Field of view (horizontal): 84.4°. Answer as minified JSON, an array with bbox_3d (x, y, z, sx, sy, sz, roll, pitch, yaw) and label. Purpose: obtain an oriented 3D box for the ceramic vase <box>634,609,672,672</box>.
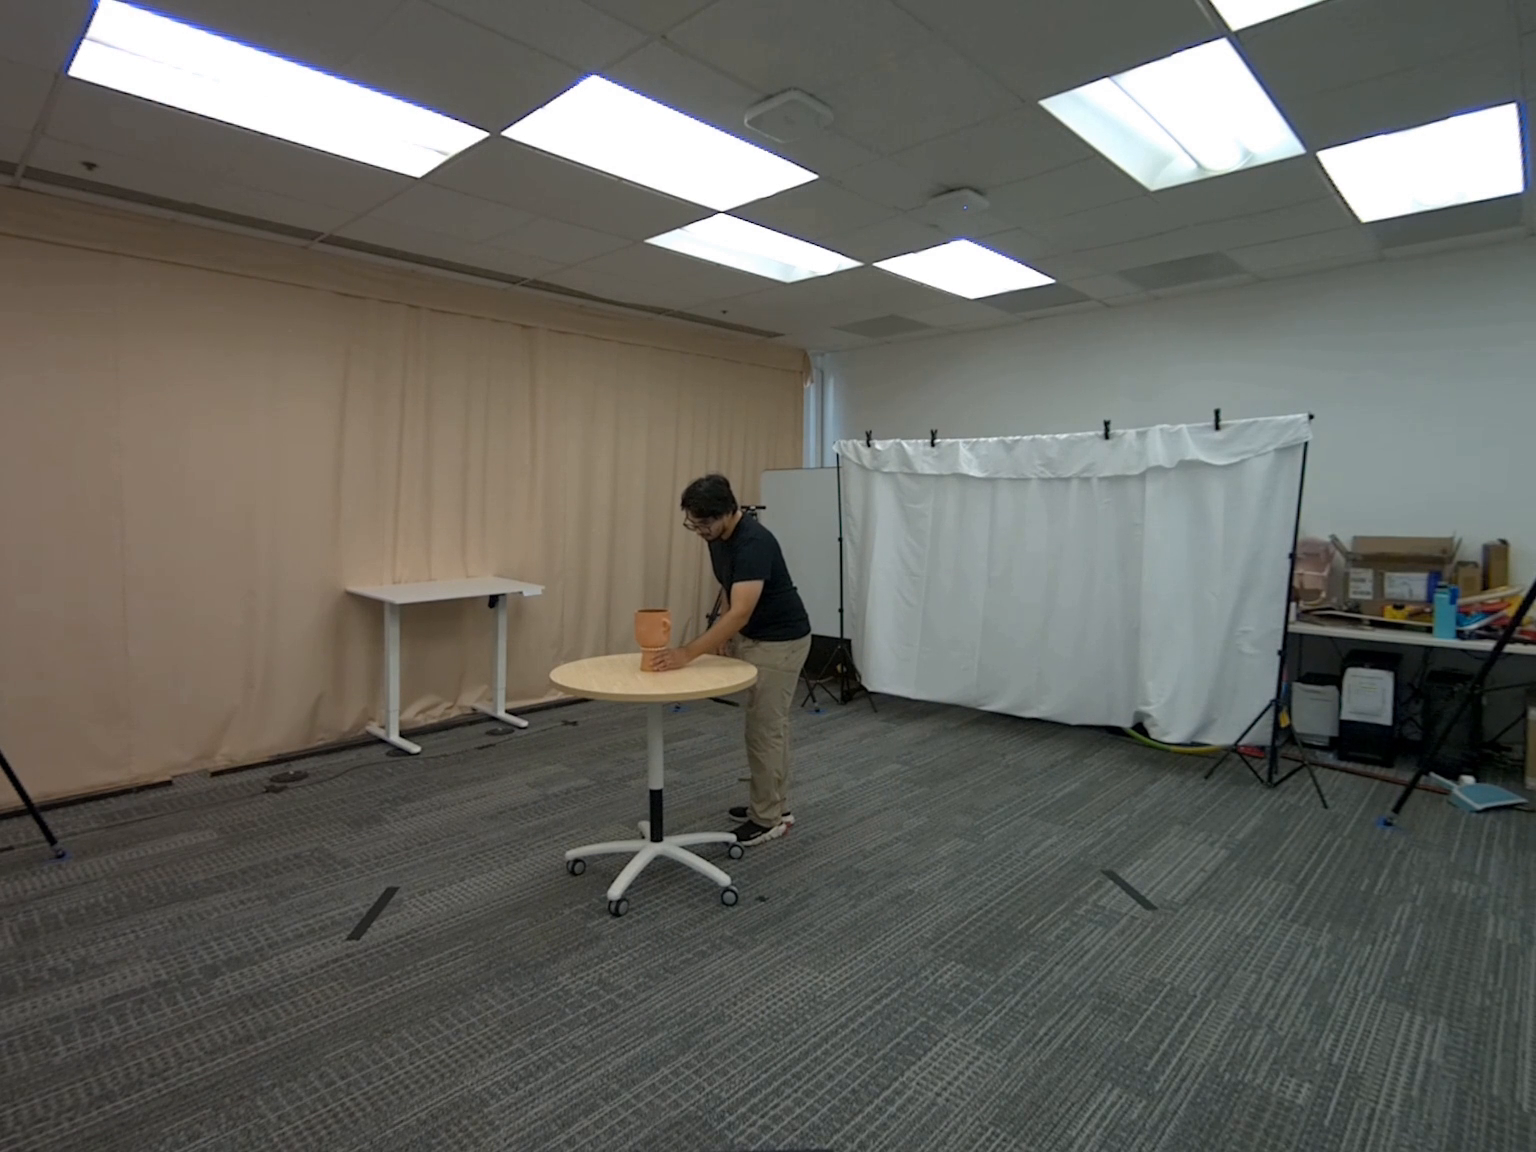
[{"bbox_3d":[-0.435,0.243,3.151,0.133,0.219,0.161,-3,3,-11],"label":"ceramic vase"}]
